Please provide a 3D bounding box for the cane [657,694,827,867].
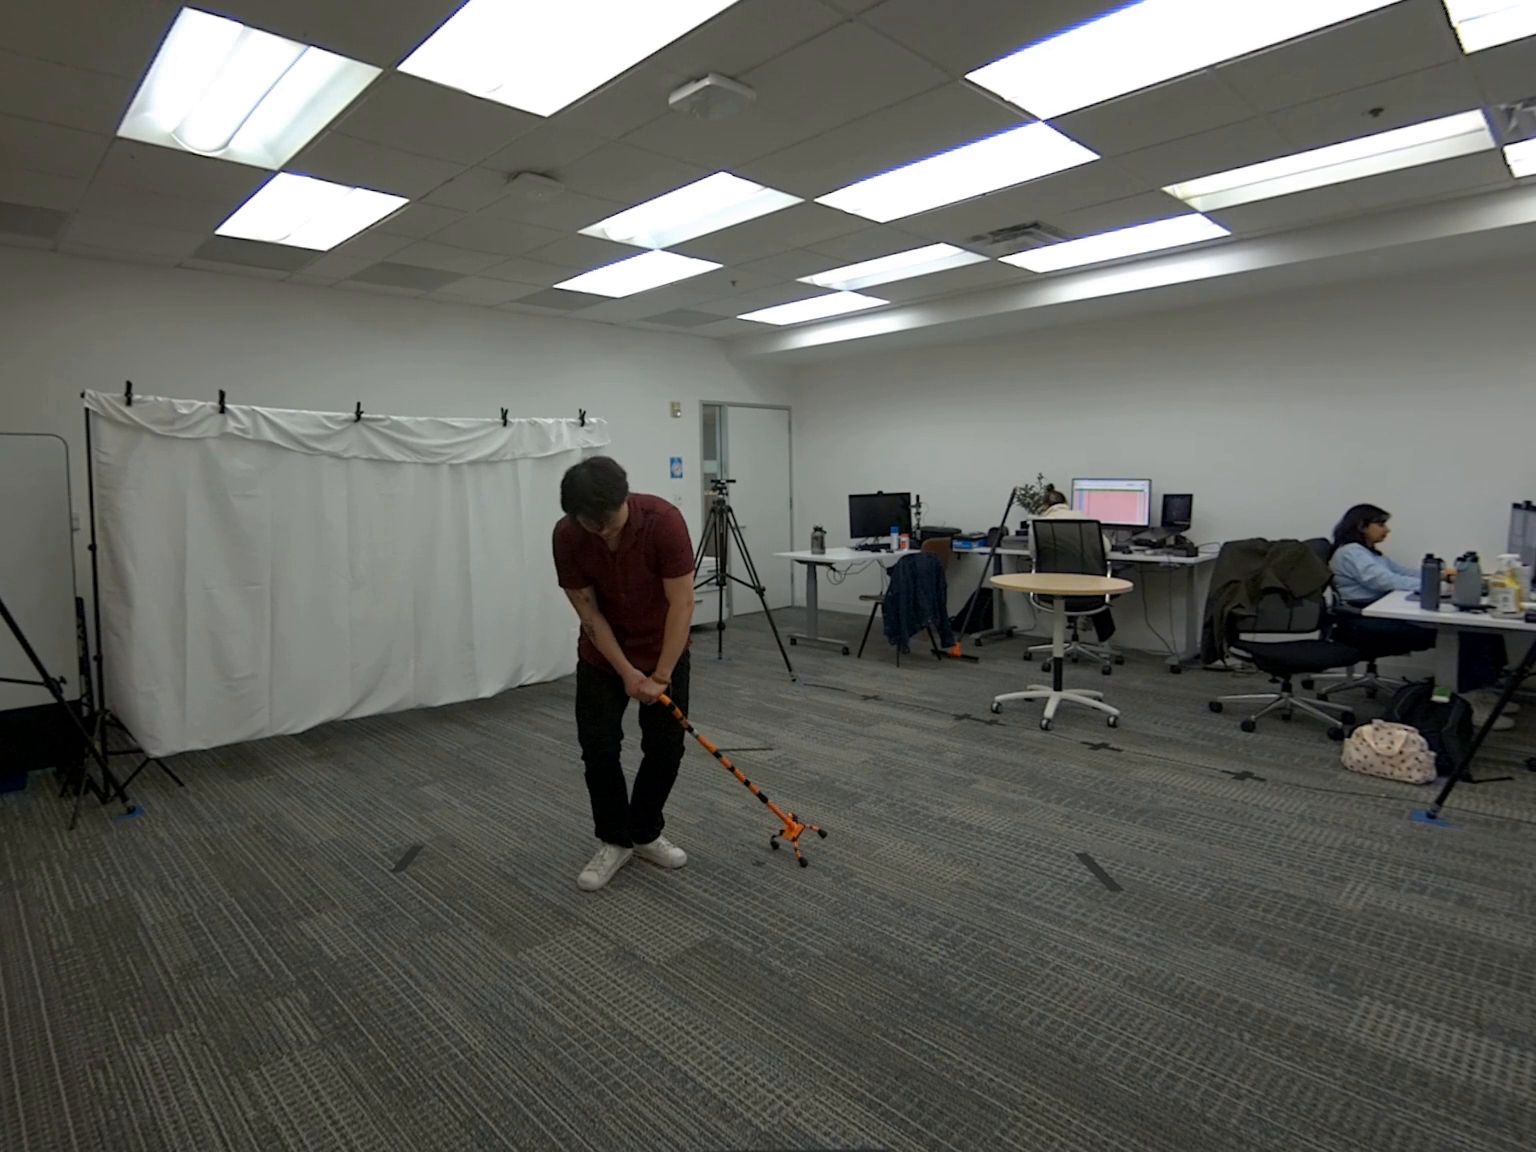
[{"bbox_3d":[-0.140,0.678,3.000,0.152,0.881,0.212,-51,27,-20],"label":"cane"}]
